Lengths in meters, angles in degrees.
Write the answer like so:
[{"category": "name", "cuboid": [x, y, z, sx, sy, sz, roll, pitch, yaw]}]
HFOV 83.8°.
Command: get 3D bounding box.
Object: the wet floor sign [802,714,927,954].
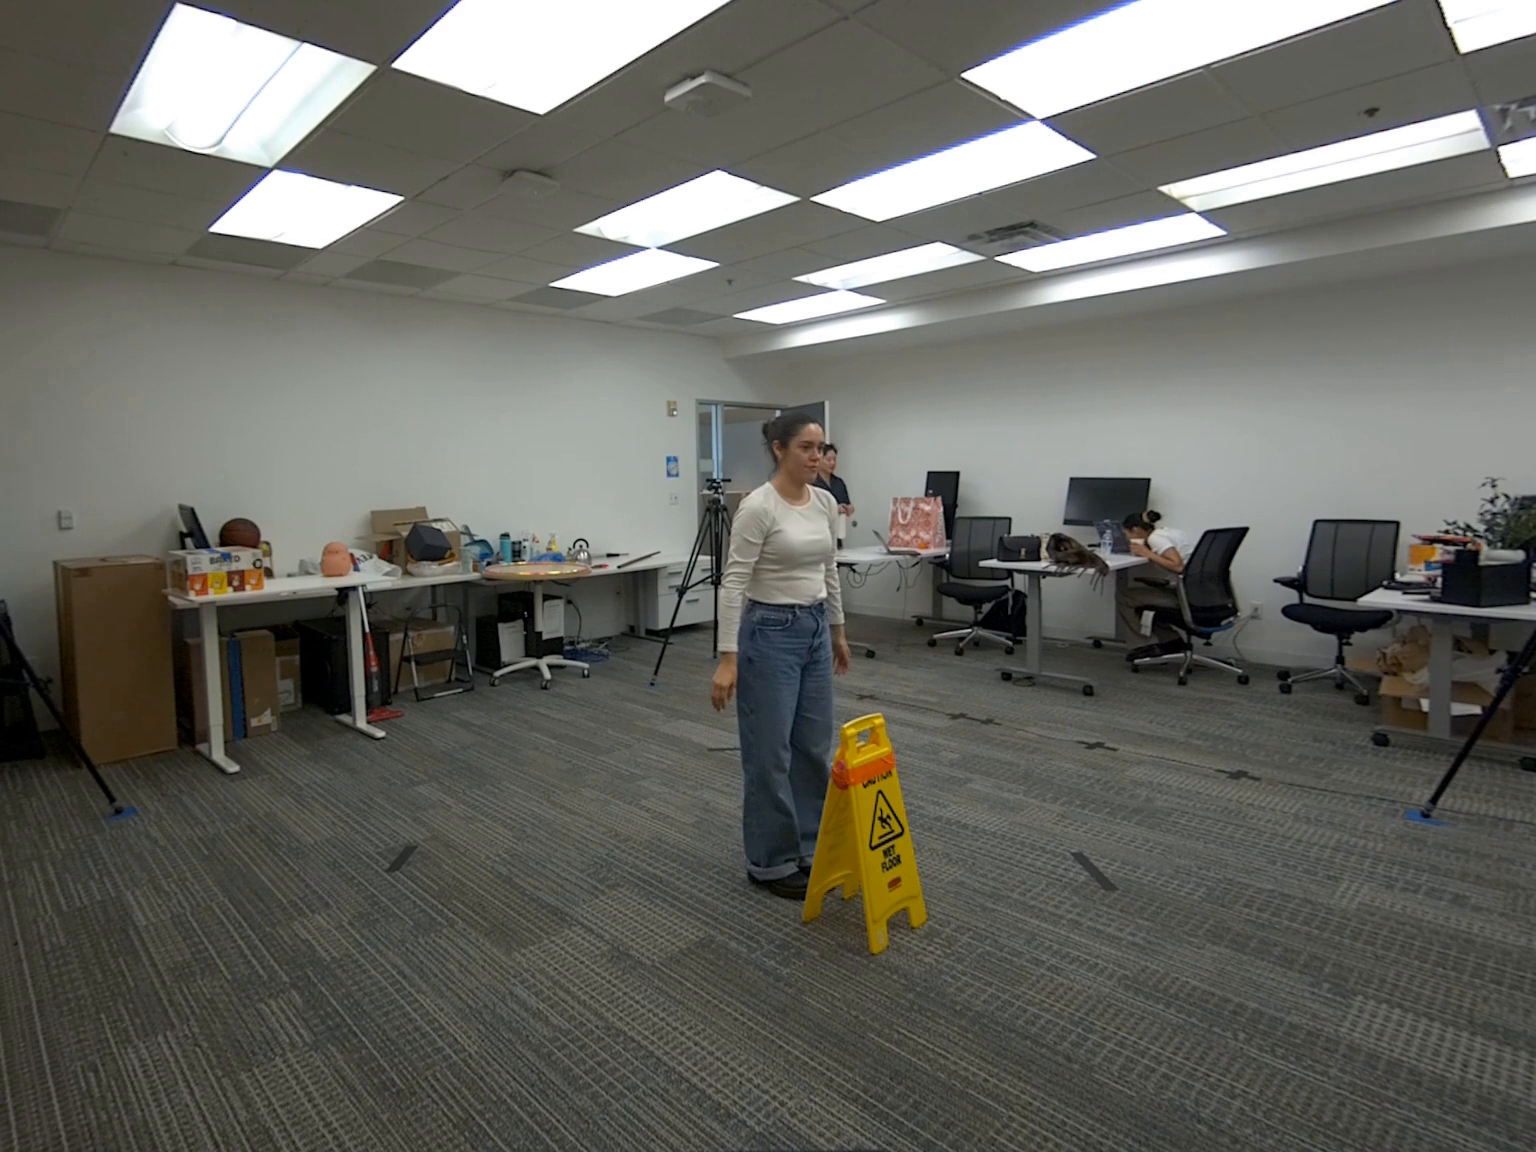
[{"category": "wet floor sign", "cuboid": [0.302, 0.764, 2.665, 0.299, 0.643, 0.275, 5, 8, 44]}]
